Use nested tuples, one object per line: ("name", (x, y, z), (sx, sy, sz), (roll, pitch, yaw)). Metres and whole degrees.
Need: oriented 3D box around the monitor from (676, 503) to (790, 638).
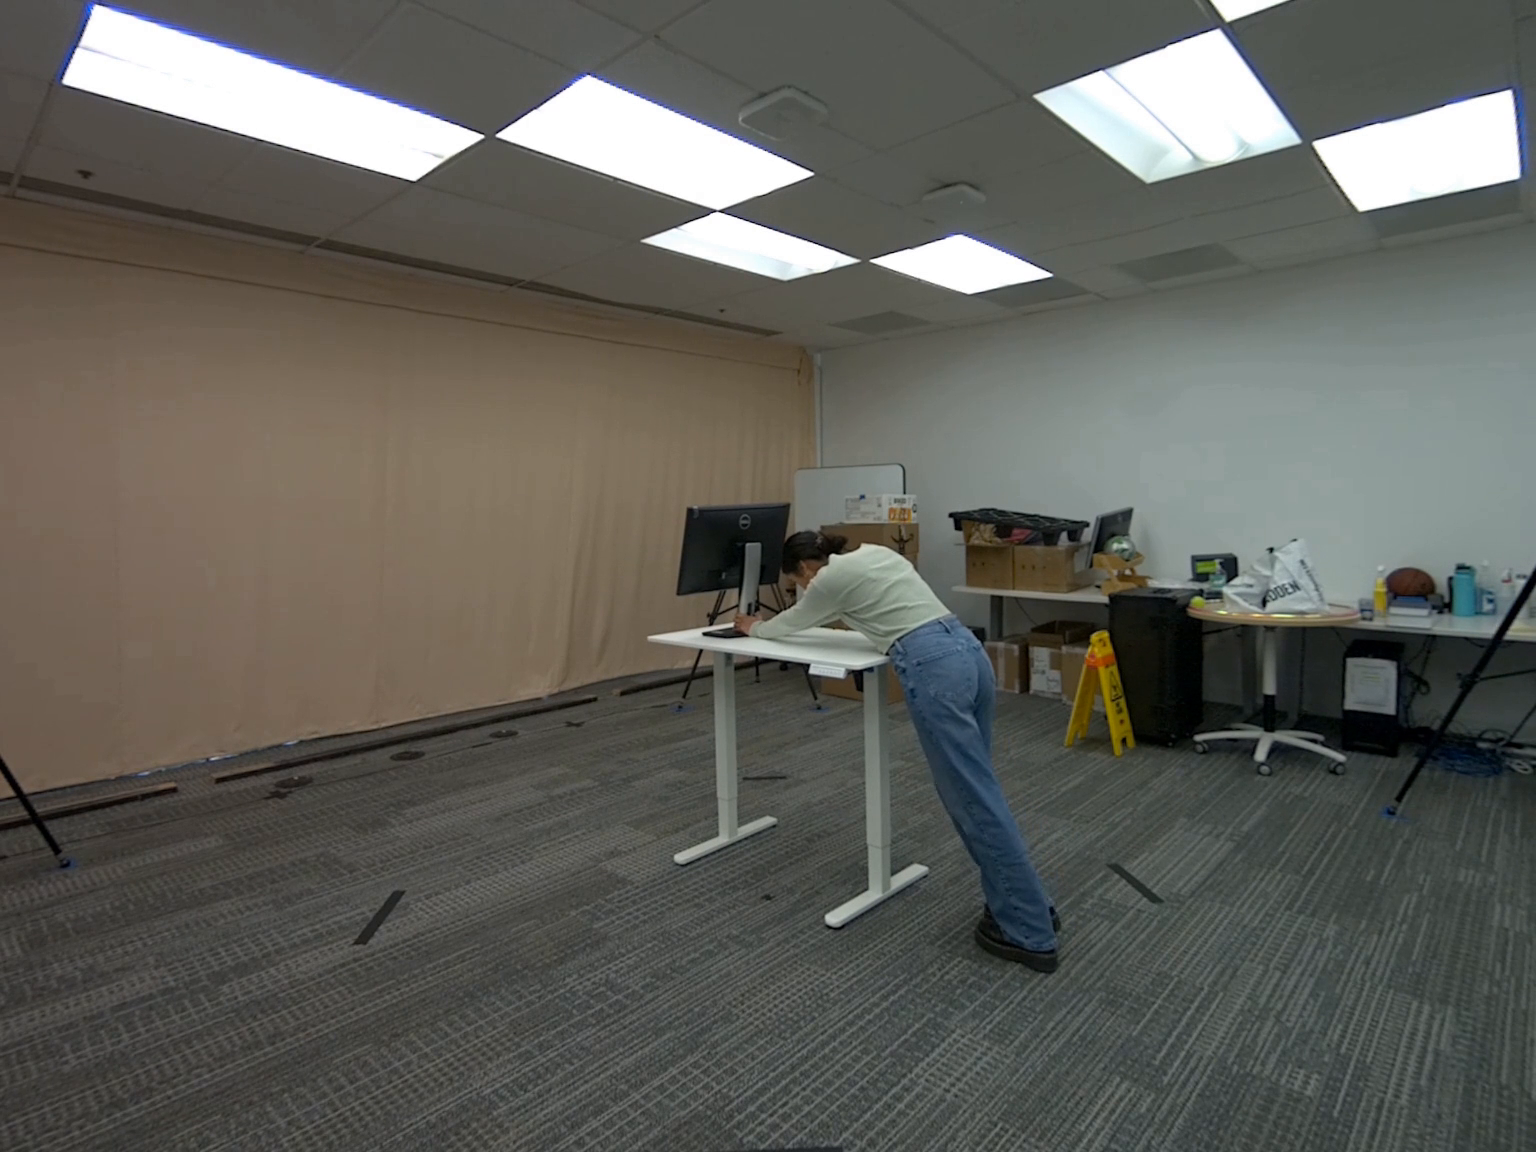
("monitor", (-0.108, -0.023, 3.345), (0.523, 0.521, 0.193), (-6, 8, -43))
